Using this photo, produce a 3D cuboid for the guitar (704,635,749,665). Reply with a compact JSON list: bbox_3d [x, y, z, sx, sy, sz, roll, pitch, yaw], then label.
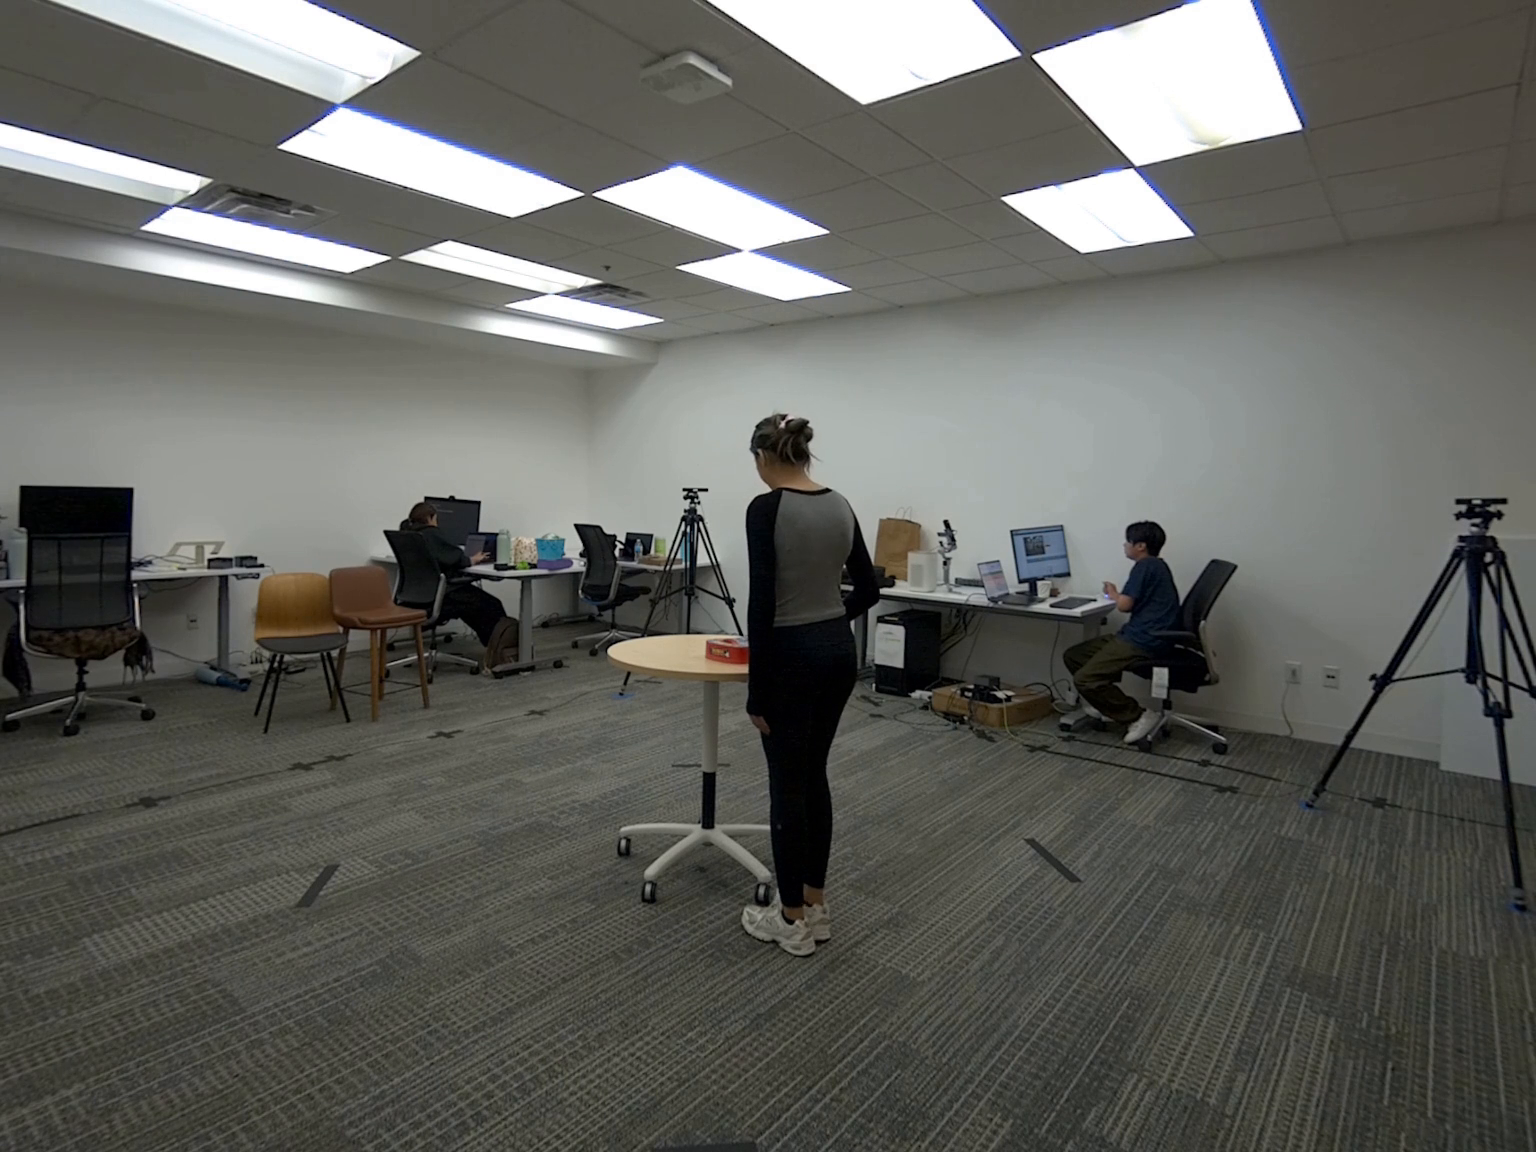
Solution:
[{"bbox_3d":[-0.004,0.253,3.090,0.483,0.070,0.200,-3,7,-38],"label":"guitar"}]
